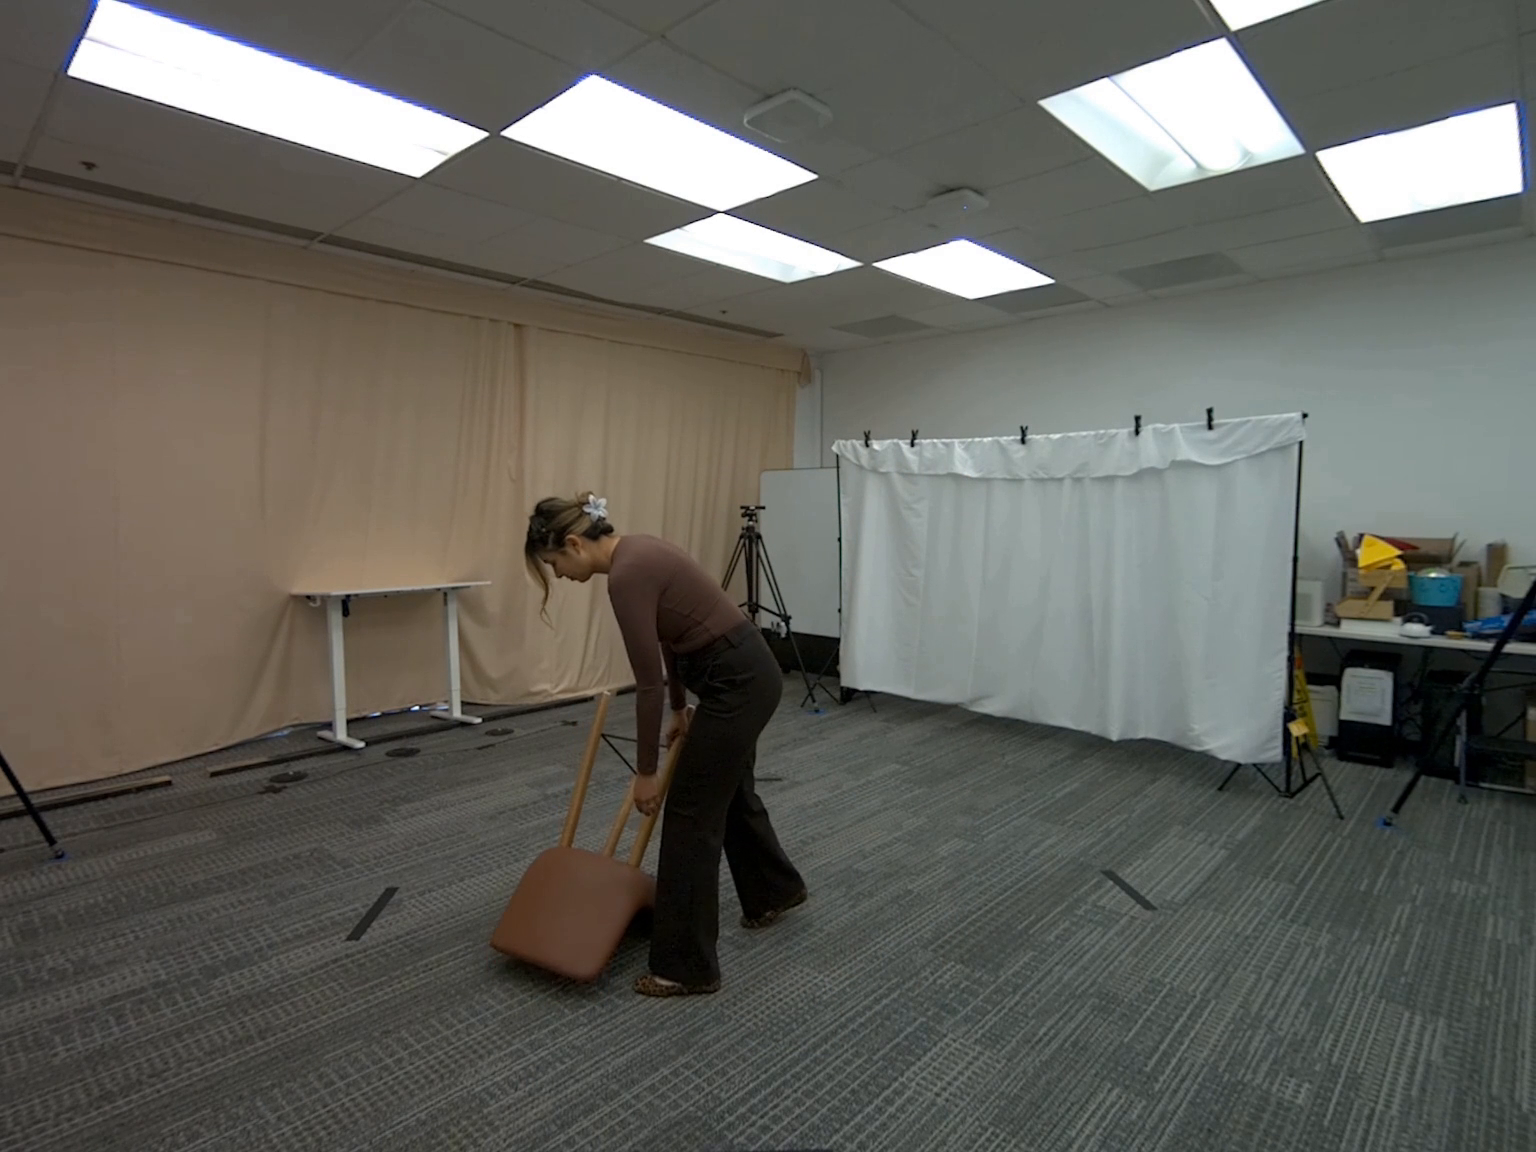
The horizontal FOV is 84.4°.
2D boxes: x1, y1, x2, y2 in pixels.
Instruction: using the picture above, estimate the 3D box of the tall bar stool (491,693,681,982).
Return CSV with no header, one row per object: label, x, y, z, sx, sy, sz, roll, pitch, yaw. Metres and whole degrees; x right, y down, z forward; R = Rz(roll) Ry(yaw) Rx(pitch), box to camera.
tall bar stool,-0.472,0.902,2.810,0.469,0.893,0.453,3,-38,26
